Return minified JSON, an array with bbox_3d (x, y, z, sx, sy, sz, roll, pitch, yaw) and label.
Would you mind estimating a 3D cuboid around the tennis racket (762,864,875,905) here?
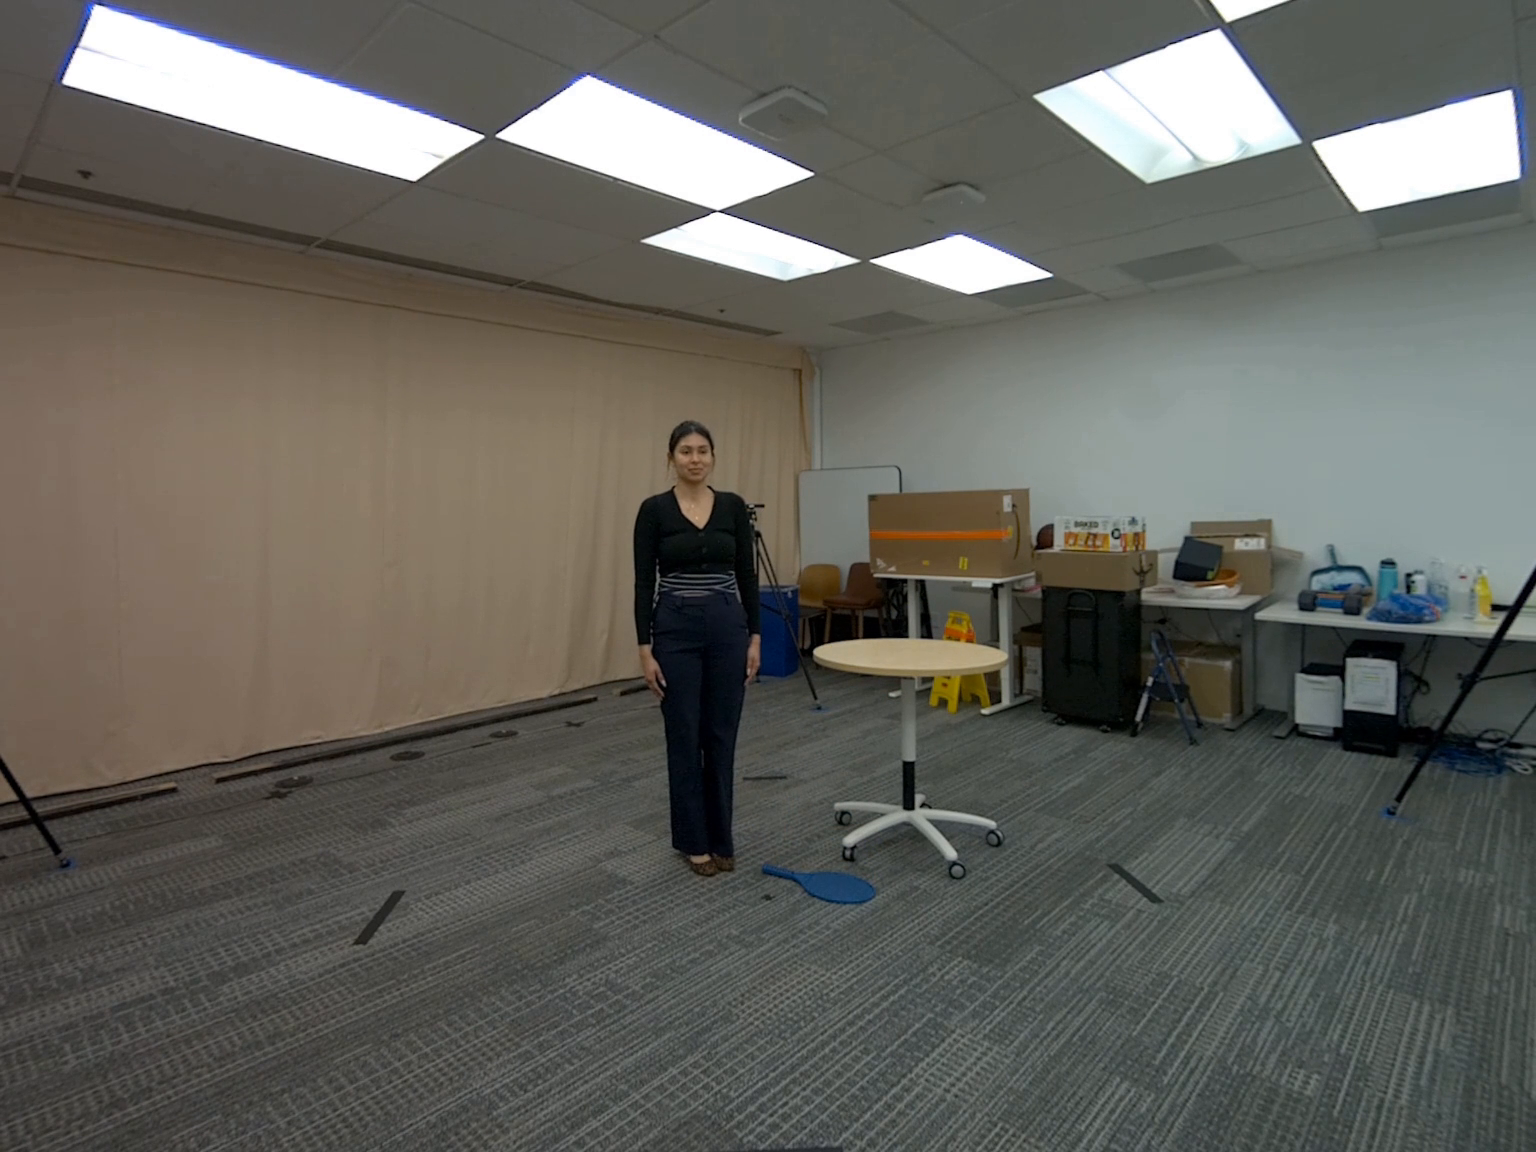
[{"bbox_3d":[0.183,1.112,3.073,0.445,0.031,0.208,3,6,27],"label":"tennis racket"}]
